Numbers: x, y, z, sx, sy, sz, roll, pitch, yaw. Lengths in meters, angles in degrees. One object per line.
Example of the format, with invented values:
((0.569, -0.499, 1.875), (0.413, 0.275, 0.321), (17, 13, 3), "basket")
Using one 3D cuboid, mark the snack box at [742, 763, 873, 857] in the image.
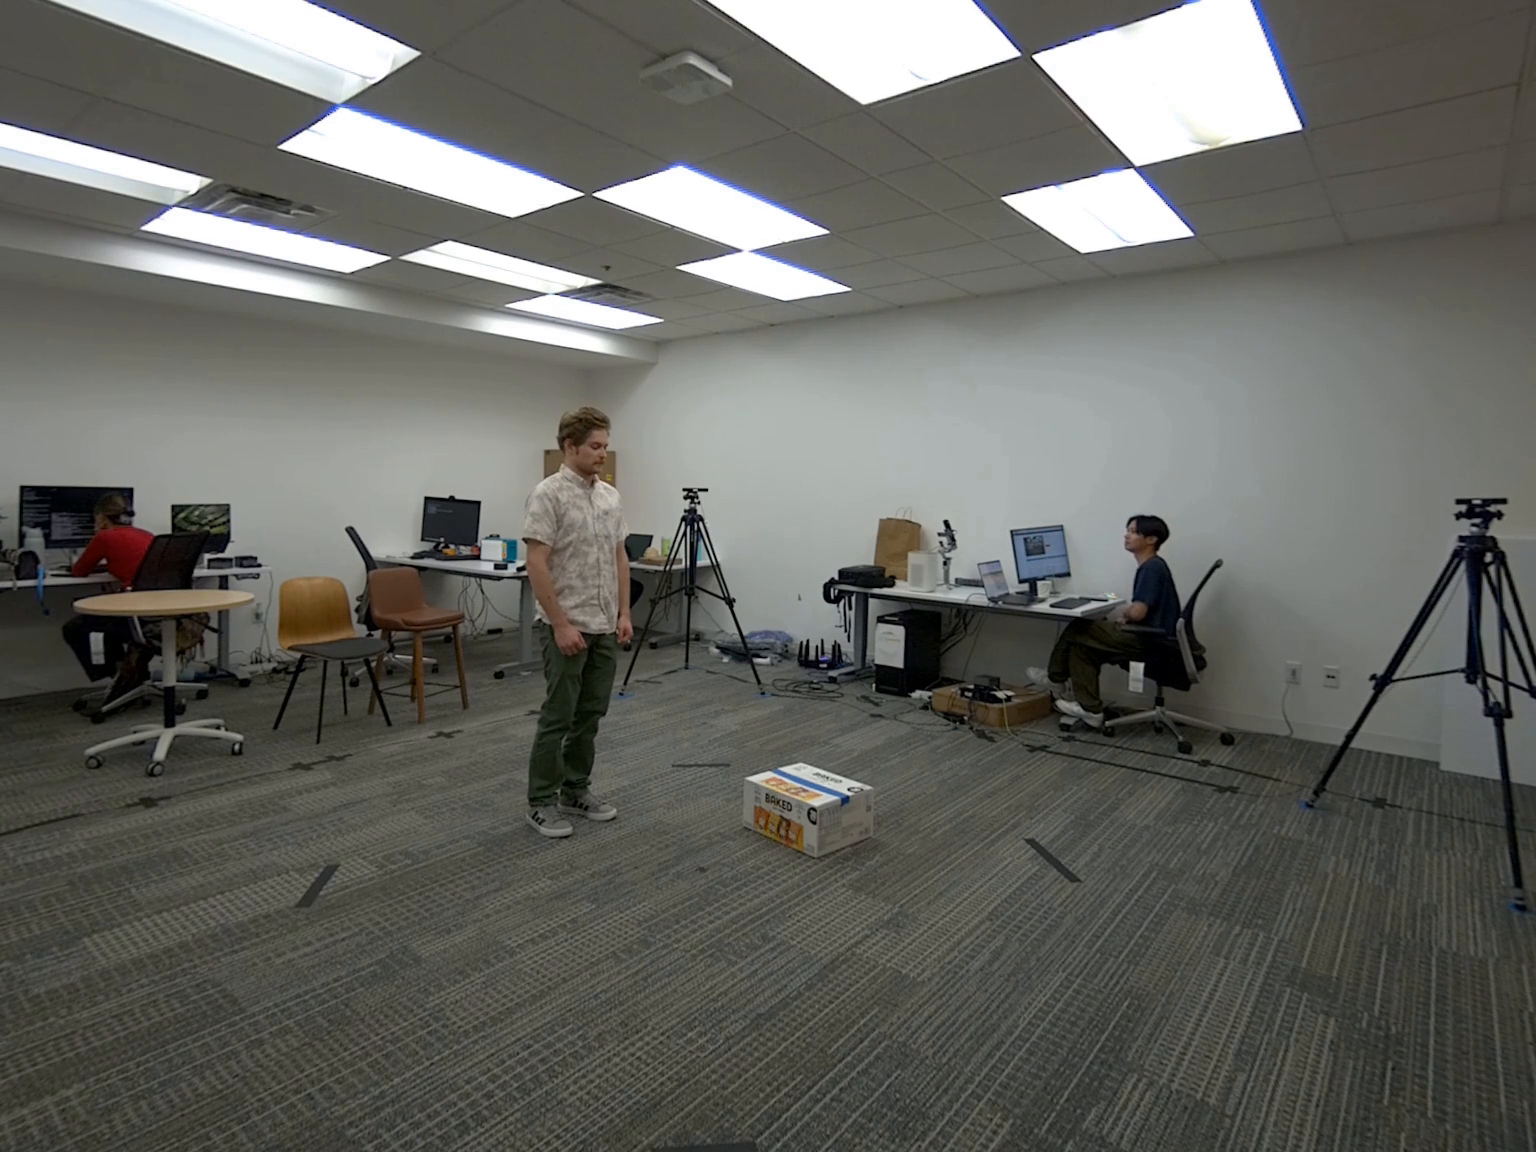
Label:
((0.154, 0.941, 3.467), (0.330, 0.205, 0.419), (-3, 7, -43), "snack box")
